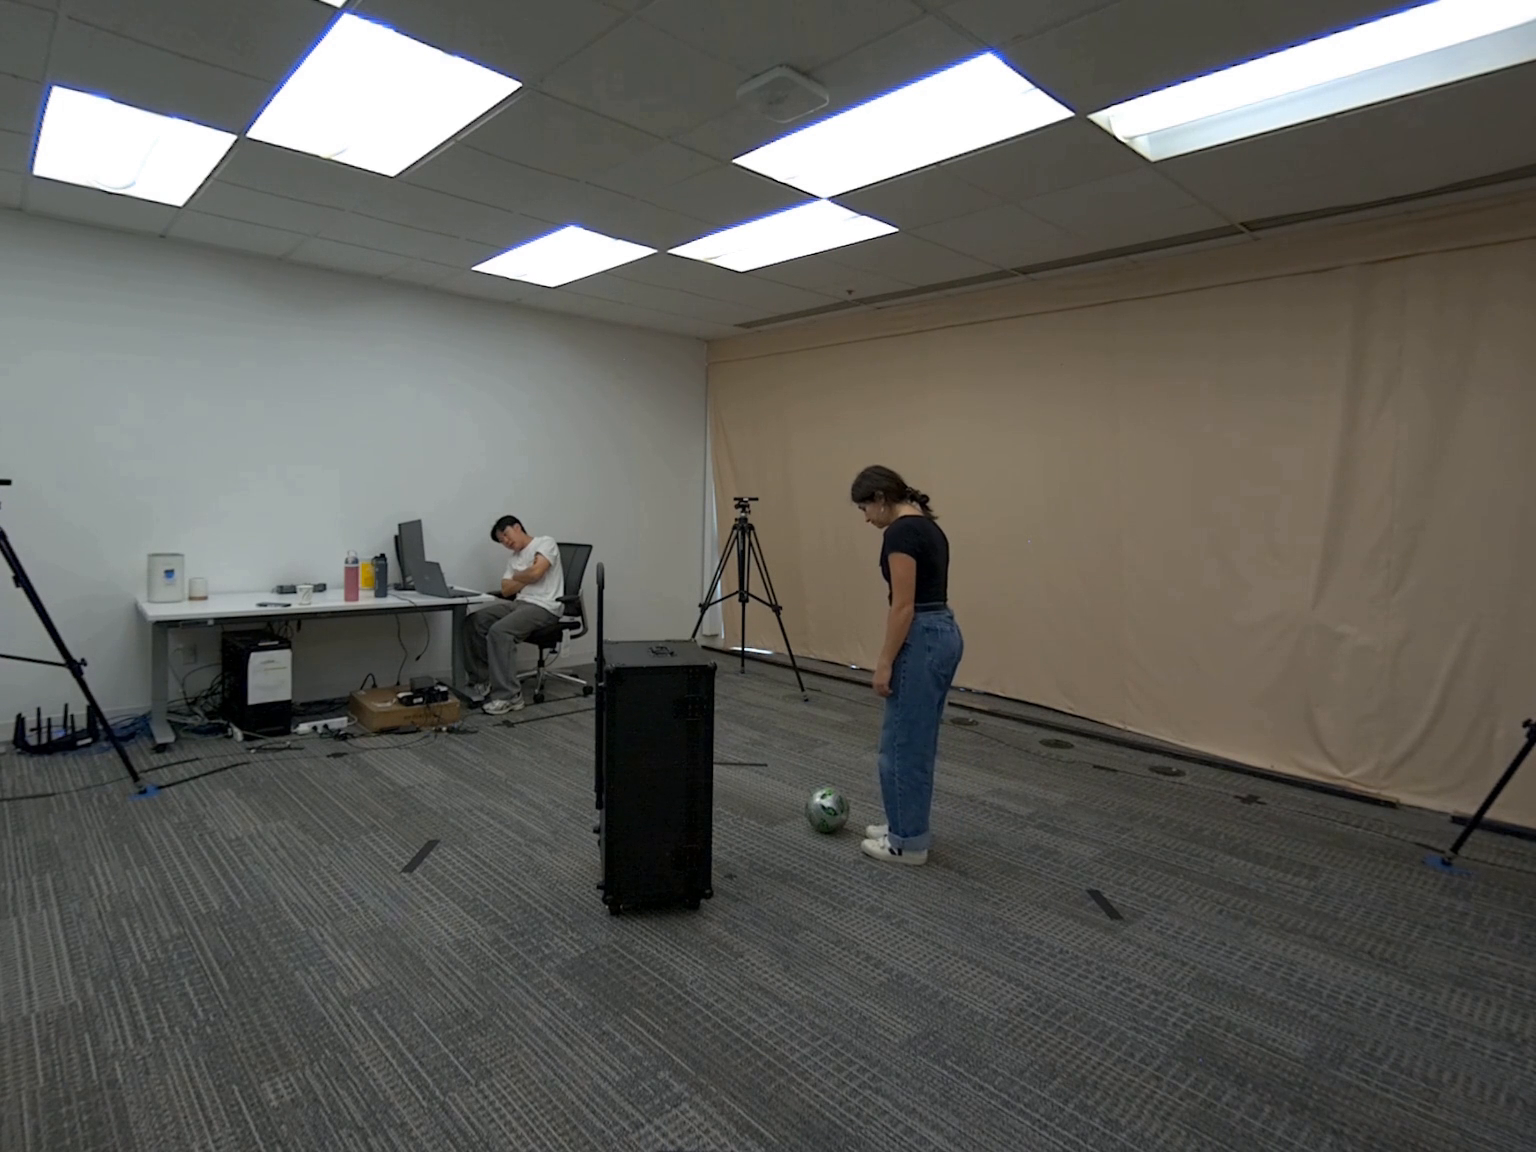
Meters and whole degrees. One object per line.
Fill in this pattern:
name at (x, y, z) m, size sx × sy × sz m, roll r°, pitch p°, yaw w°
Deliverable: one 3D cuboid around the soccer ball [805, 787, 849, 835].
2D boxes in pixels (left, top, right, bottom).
soccer ball at (0.243, 0.985, 3.558) m, size 0.187 × 0.187 × 0.188 m, roll 1°, pitch 4°, yaw -1°
